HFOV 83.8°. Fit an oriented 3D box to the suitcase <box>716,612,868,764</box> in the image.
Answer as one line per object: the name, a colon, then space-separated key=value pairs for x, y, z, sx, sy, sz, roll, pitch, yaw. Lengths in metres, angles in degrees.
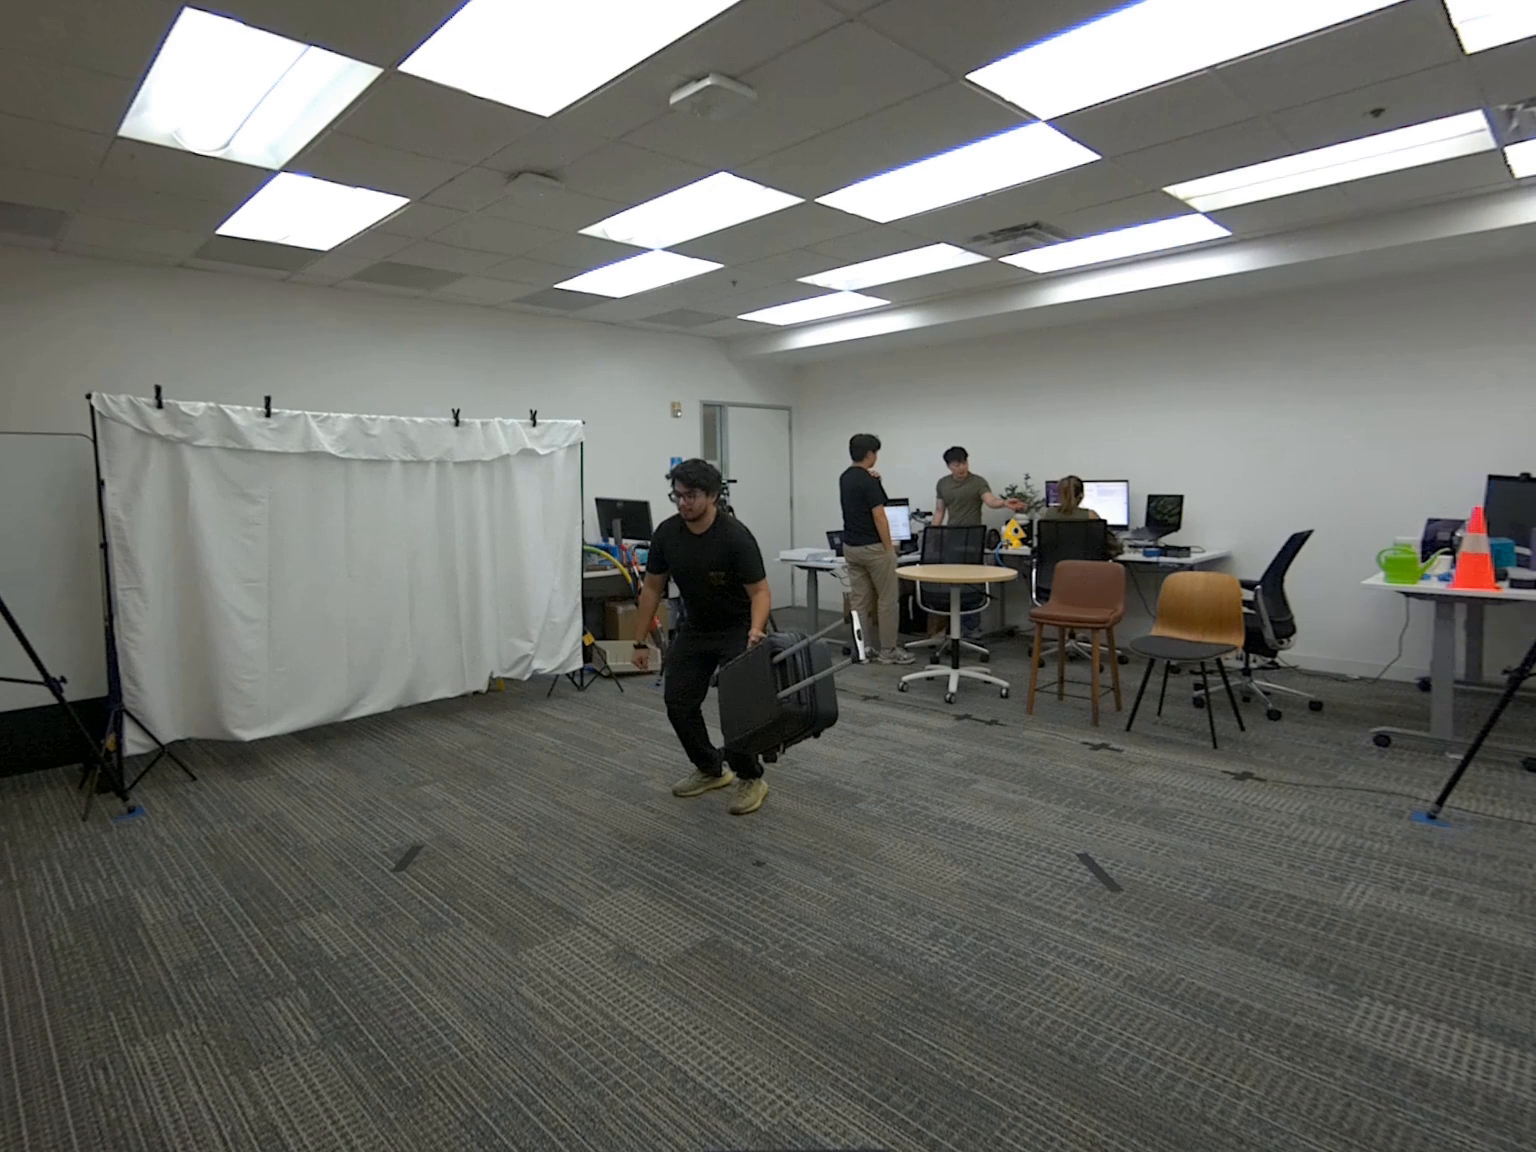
suitcase: x=0.128 y=0.383 z=3.067 sx=0.250 sy=0.393 sz=0.982 roll=8 pitch=-28 yaw=-29
